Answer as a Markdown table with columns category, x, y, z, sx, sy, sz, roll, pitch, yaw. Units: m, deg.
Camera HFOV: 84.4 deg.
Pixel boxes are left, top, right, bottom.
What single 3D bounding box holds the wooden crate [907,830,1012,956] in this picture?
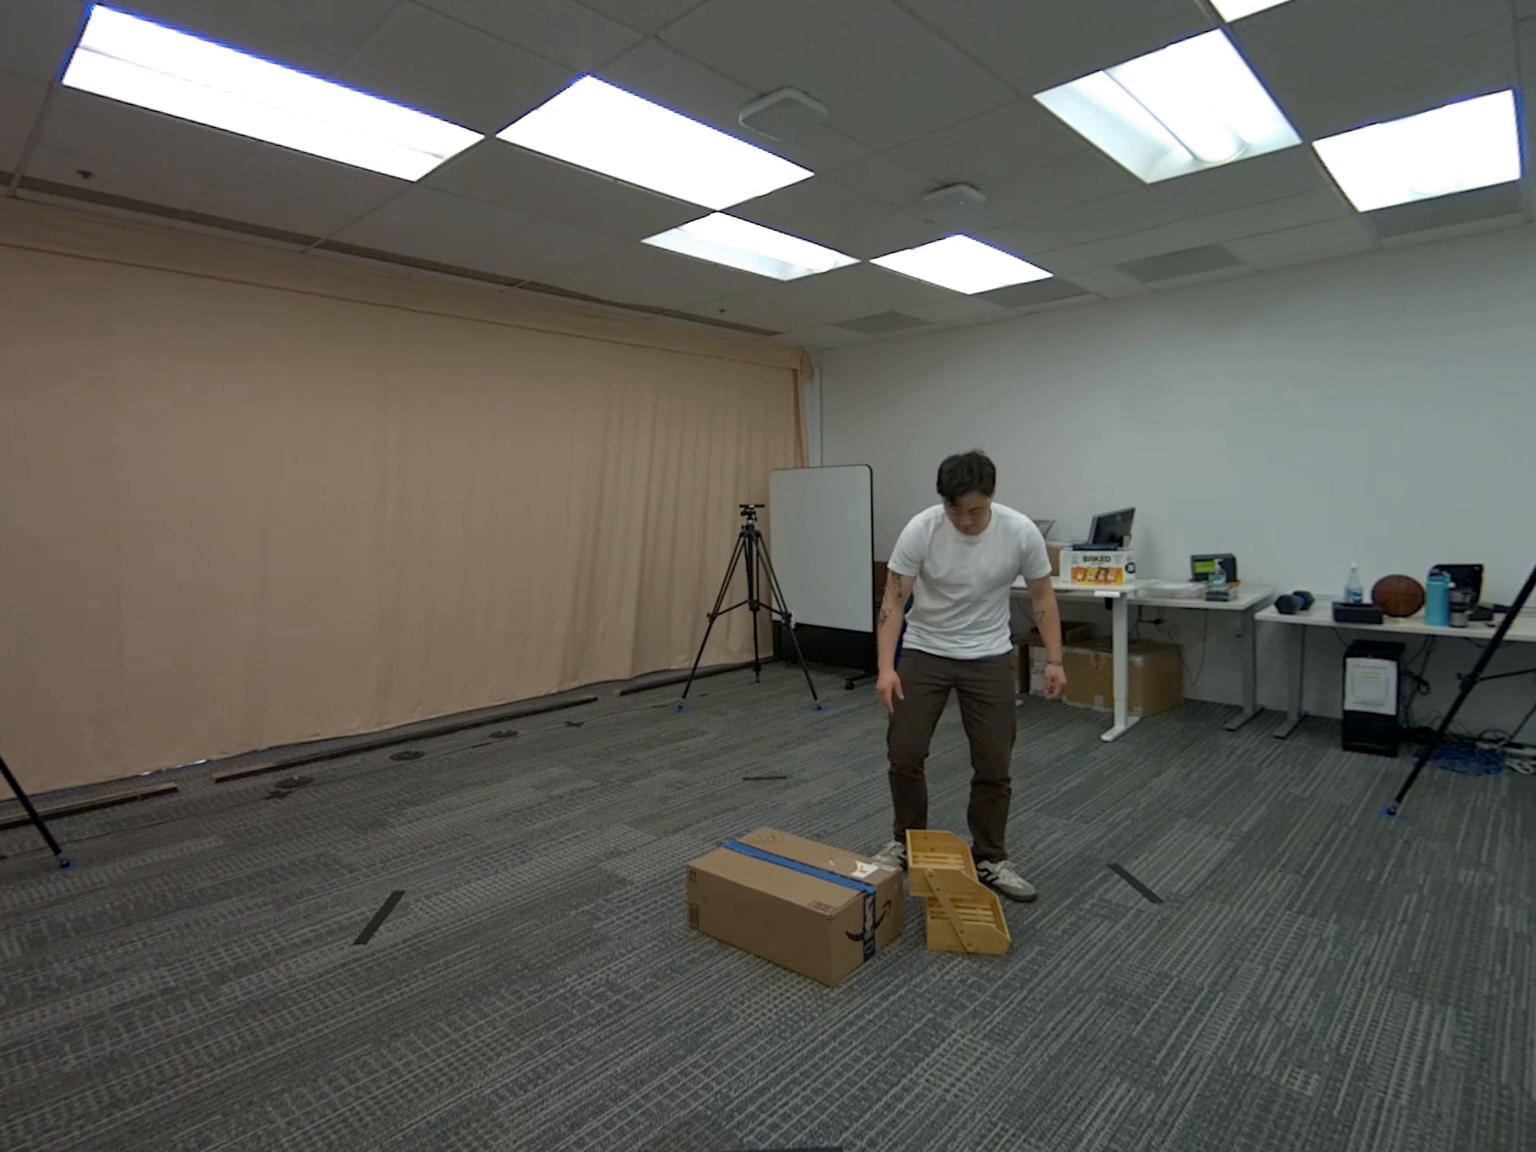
| category | x | y | z | sx | sy | sz | roll | pitch | yaw |
| --- | --- | --- | --- | --- | --- | --- | --- | --- | --- |
| wooden crate | 0.626 | 1.013 | 2.742 | 0.305 | 0.273 | 0.322 | -1 | 4 | 9 |
